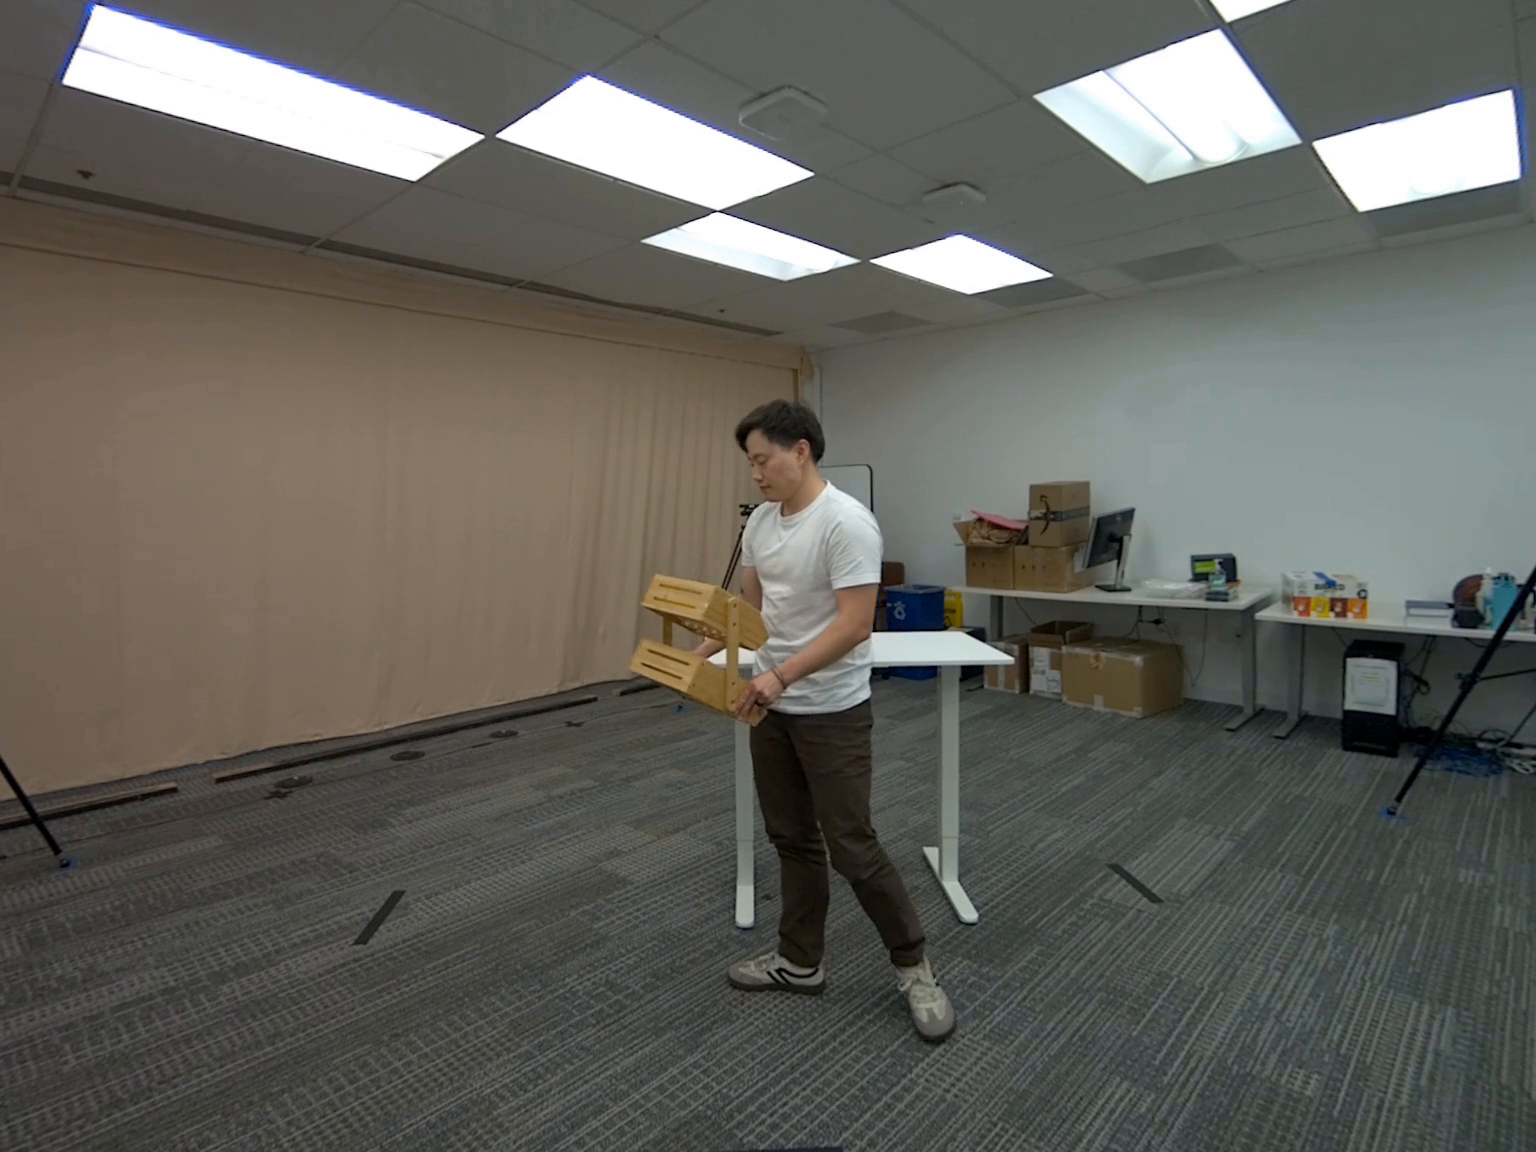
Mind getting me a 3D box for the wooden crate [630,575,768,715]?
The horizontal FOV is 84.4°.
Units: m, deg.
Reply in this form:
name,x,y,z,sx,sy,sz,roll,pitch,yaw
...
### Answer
name,x,y,z,sx,sy,sz,roll,pitch,yaw
wooden crate,-0.156,0.188,2.198,0.292,0.274,0.335,32,-14,-34
